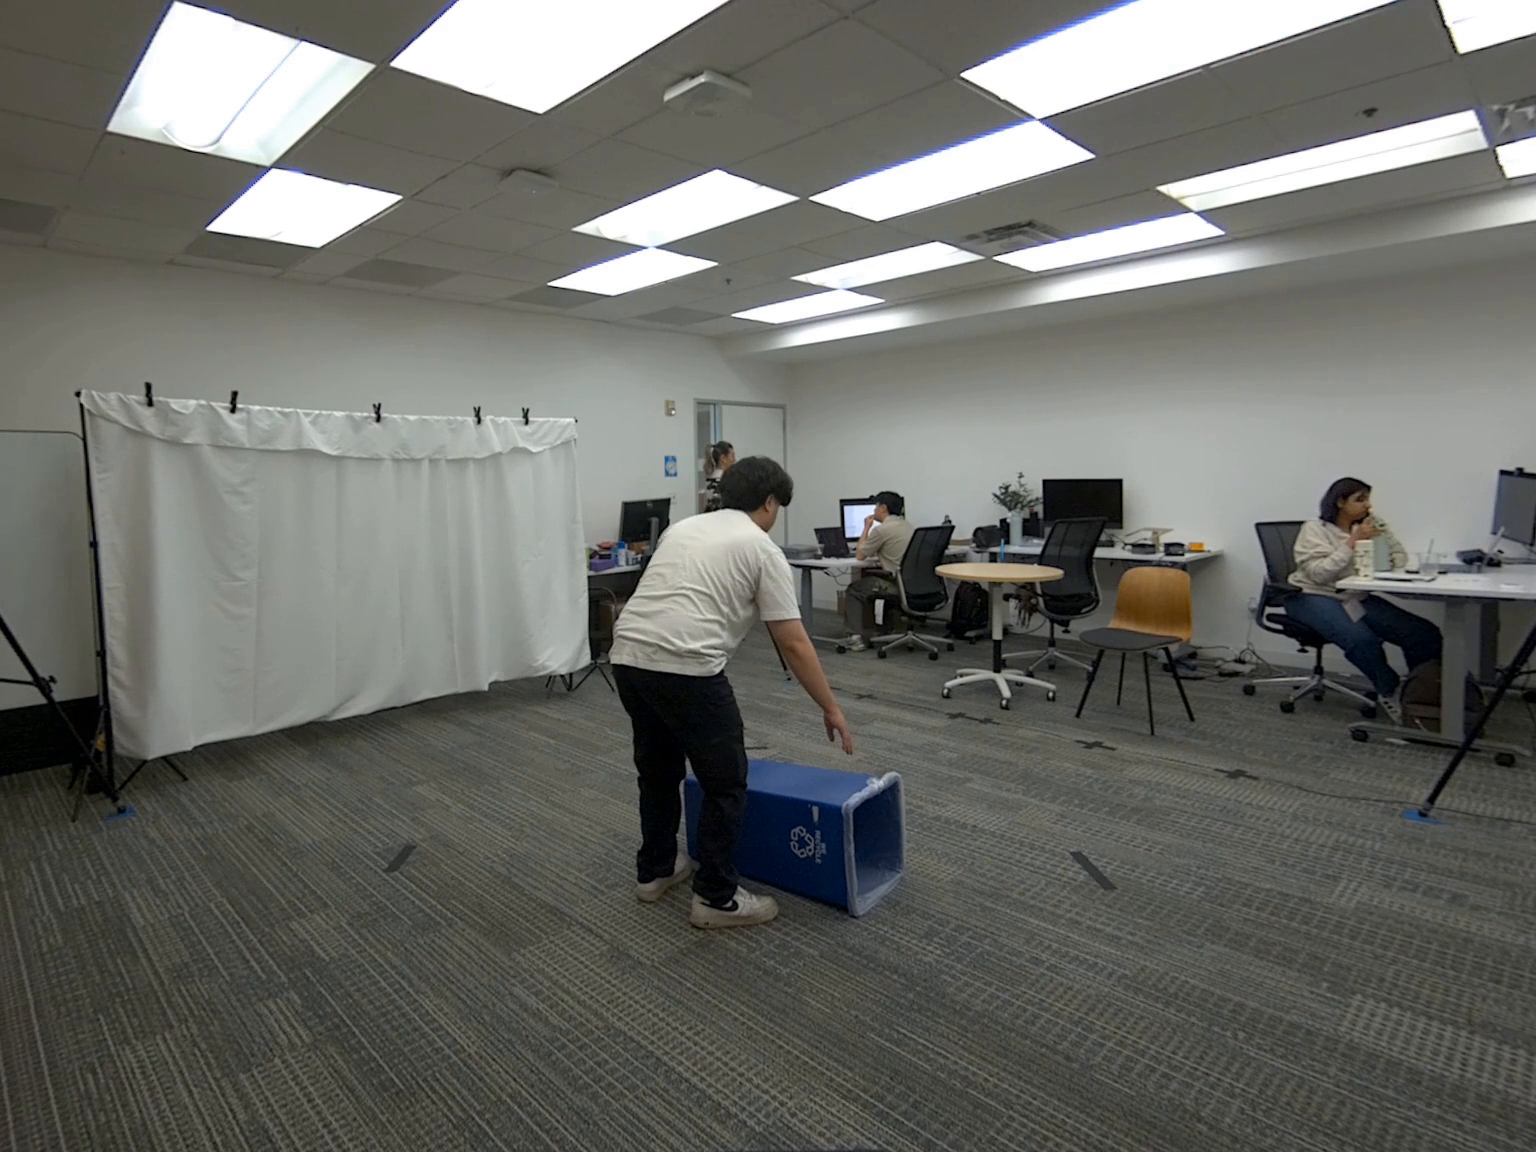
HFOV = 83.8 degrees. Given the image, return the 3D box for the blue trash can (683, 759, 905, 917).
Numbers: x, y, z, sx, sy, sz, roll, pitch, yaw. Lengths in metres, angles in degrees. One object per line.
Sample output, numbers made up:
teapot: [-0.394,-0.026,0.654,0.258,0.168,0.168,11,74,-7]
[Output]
blue trash can: [0.082,0.884,3.050,0.733,0.373,0.369,0,5,36]
